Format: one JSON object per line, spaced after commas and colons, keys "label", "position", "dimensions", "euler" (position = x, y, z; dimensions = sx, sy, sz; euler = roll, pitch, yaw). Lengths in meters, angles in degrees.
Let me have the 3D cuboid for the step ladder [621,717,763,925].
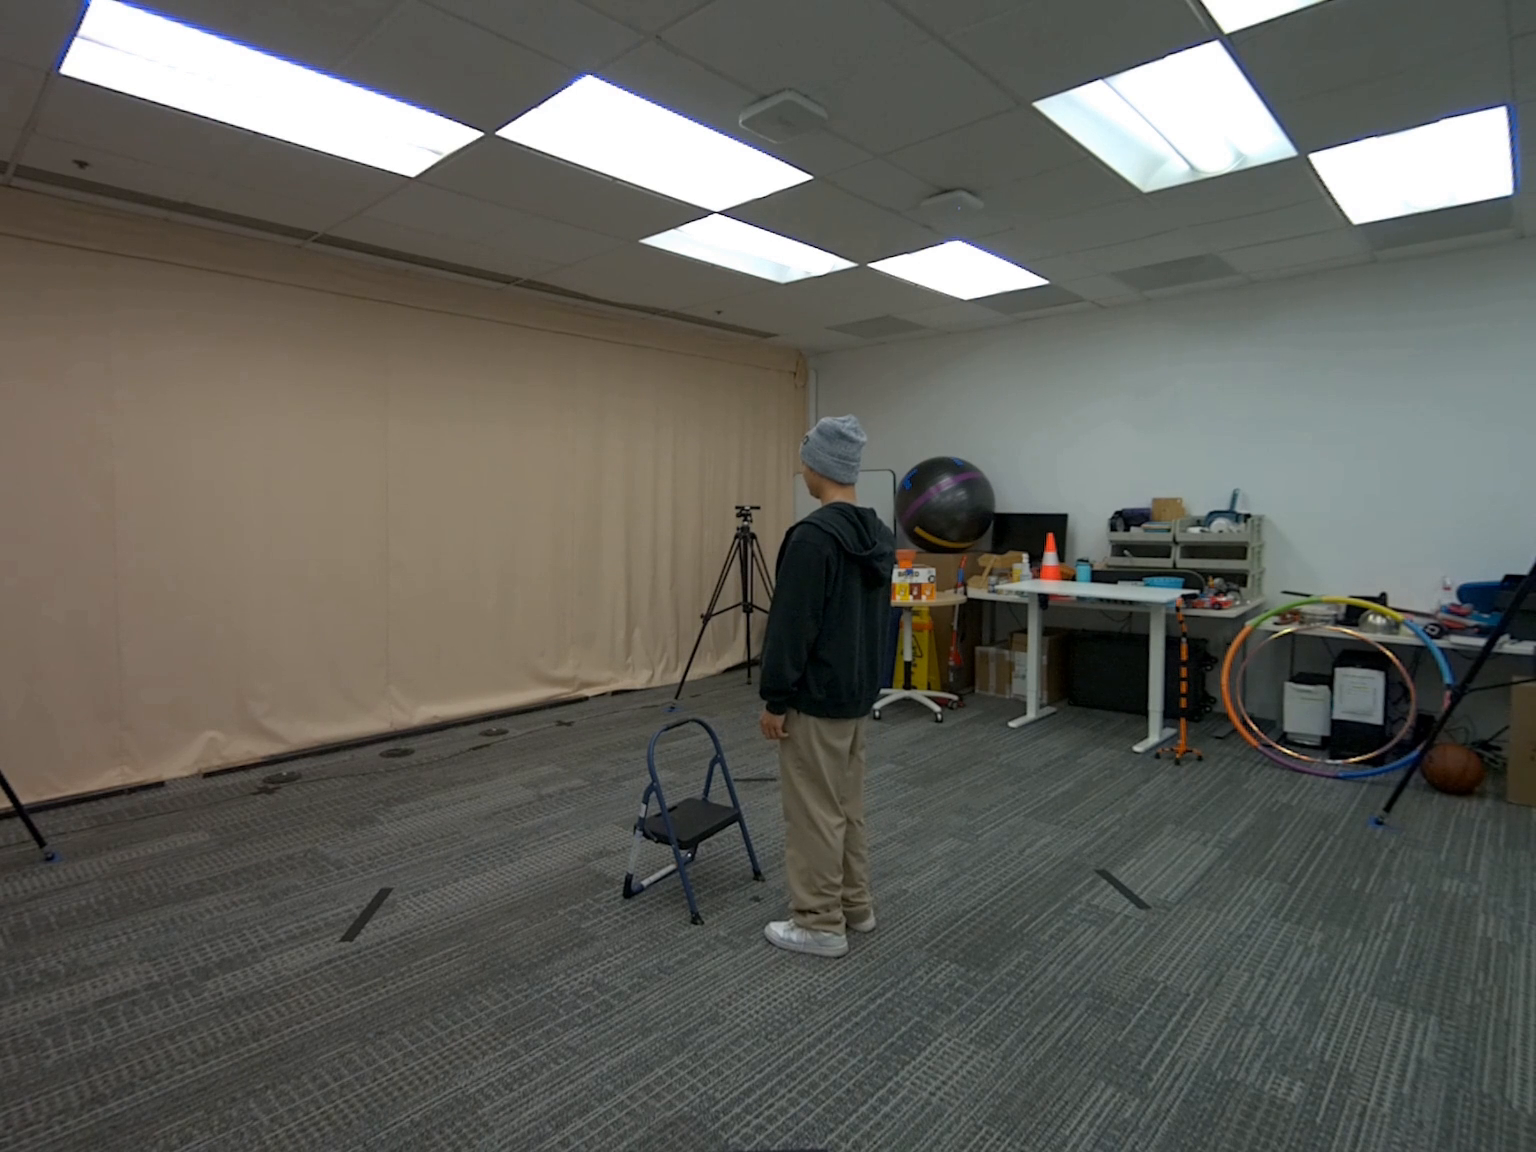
{"label": "step ladder", "position": [-0.267, 0.837, 3.054], "dimensions": [0.360, 0.605, 0.418], "euler": [2, 4, 32]}
